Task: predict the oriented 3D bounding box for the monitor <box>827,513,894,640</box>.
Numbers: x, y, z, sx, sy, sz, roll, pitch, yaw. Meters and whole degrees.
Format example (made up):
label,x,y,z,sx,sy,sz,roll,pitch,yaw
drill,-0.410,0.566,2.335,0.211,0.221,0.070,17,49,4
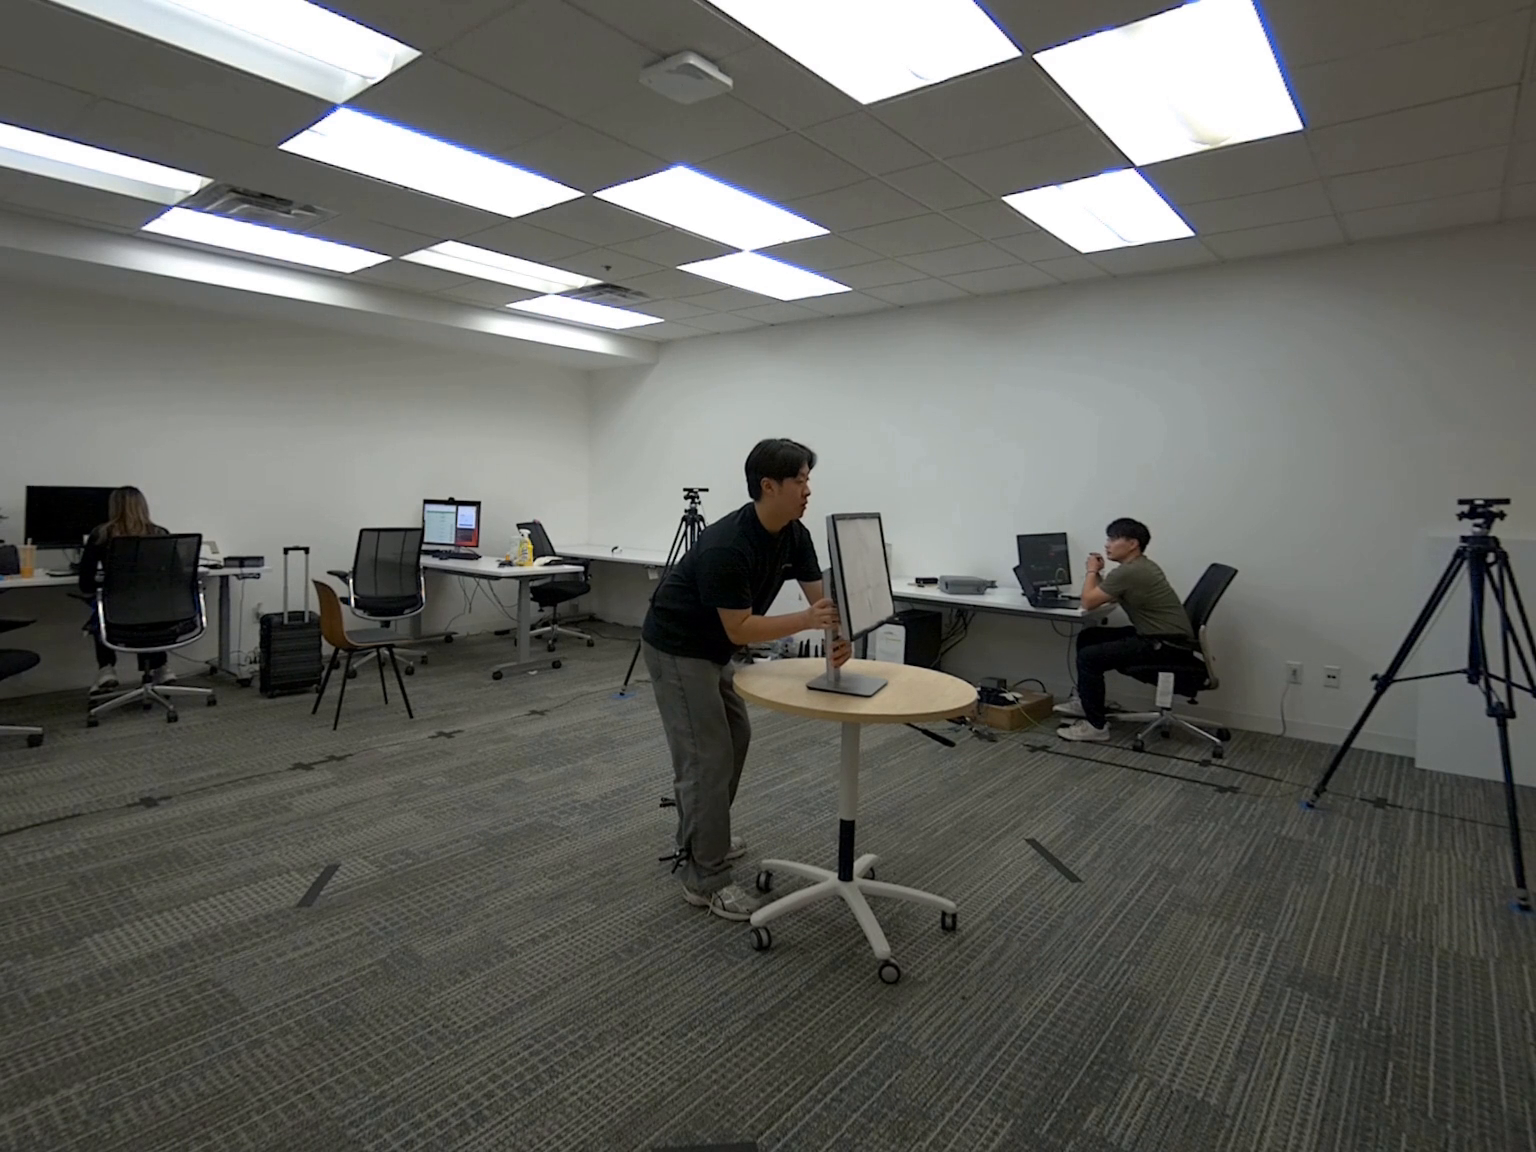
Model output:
label,x,y,z,sx,sy,sz,roll,pitch,yaw
monitor,0.257,0.083,2.645,0.228,0.563,0.549,7,6,25
